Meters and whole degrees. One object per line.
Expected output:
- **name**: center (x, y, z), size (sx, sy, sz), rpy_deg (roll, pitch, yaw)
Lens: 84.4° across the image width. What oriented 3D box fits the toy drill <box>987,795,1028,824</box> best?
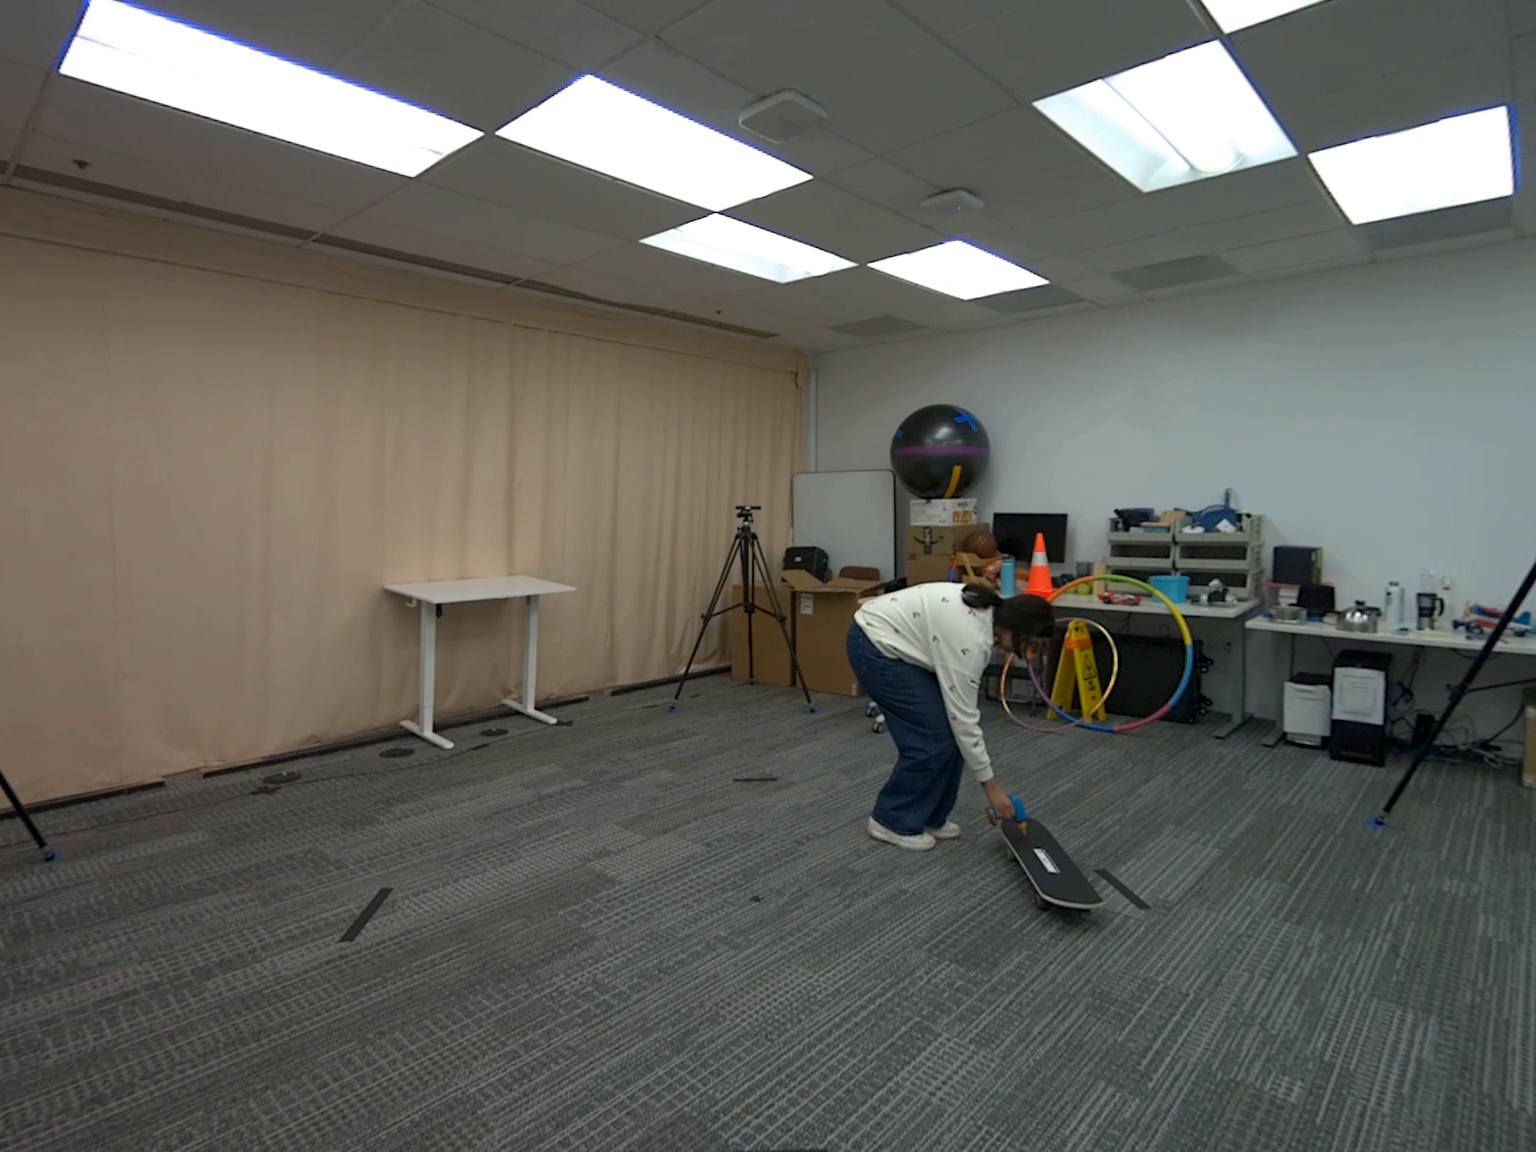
- **toy drill**: center (0.961, 0.954, 3.308), size (0.145, 0.169, 0.062), rpy_deg (-19, 5, -8)
